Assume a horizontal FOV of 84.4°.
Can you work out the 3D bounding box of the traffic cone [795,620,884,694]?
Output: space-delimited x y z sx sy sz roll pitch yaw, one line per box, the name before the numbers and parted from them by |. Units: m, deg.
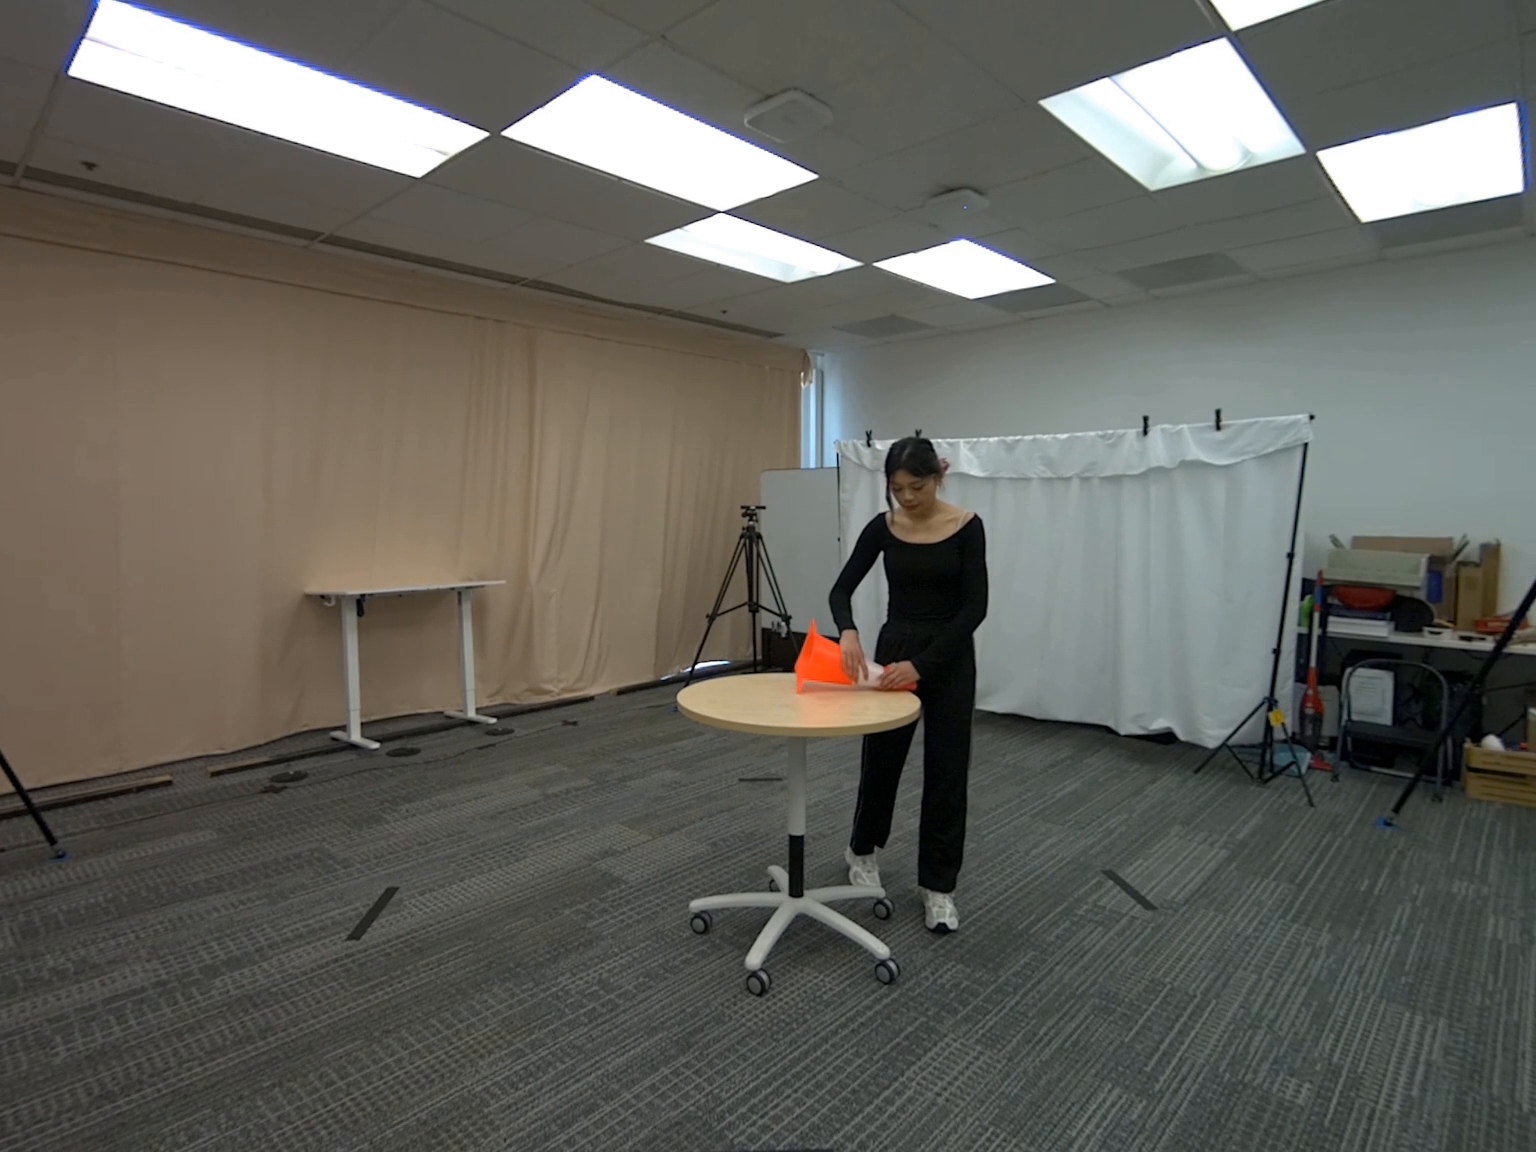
traffic cone | 0.311 0.324 2.780 0.383 0.202 0.207 16 24 -2
